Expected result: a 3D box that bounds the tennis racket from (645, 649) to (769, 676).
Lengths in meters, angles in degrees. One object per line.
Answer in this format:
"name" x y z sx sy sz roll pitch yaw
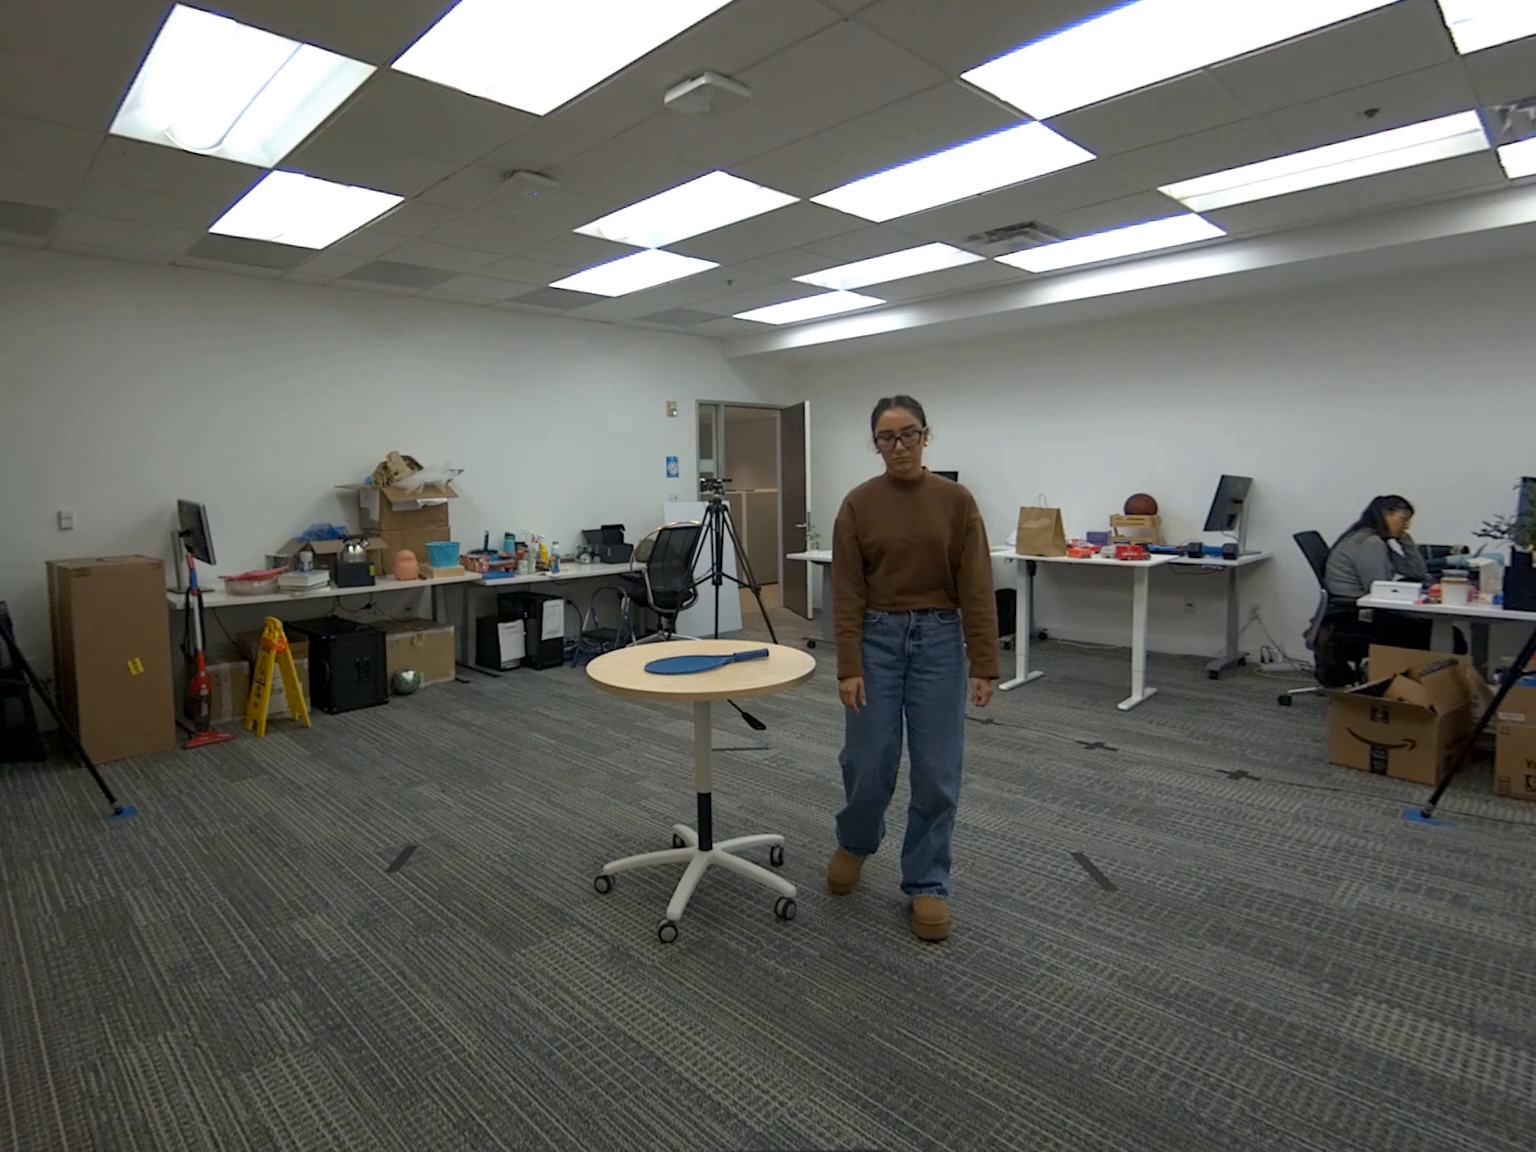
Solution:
"tennis racket" -0.192 0.288 2.822 0.426 0.031 0.218 -5 7 -18
